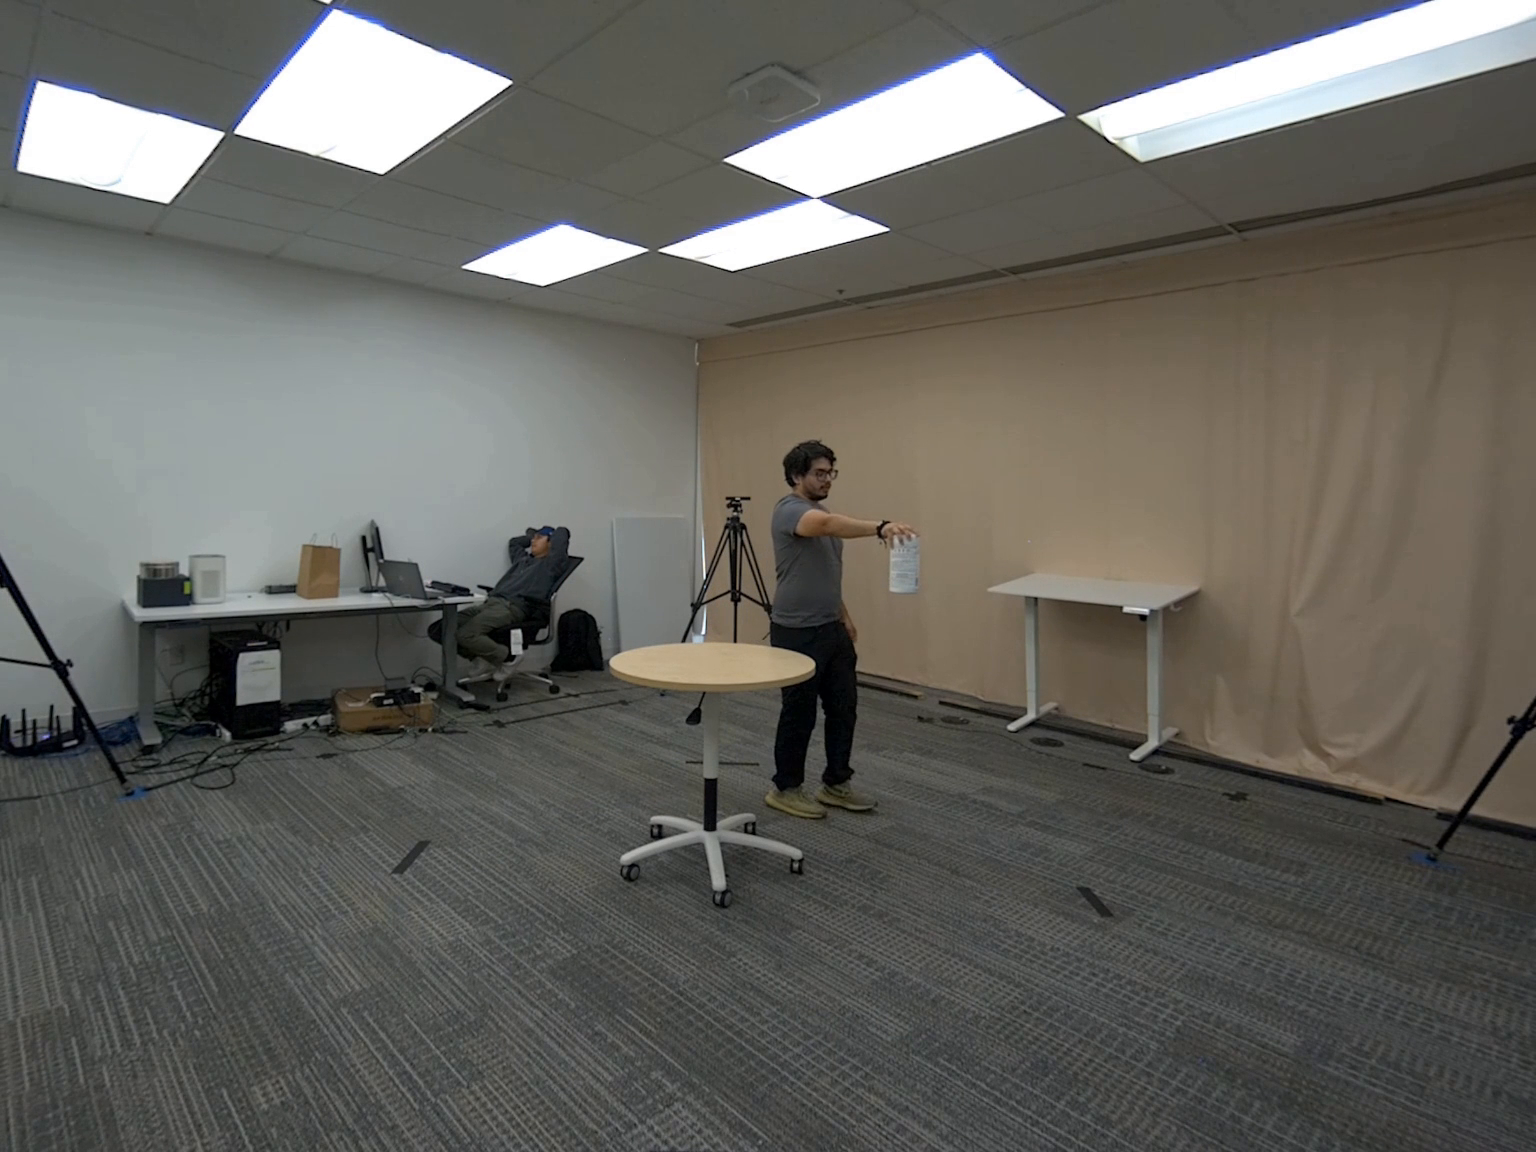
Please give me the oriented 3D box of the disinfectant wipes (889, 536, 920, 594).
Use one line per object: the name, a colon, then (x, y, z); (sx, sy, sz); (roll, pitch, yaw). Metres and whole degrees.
disinfectant wipes: (0.497, -0.049, 3.109); (0.118, 0.217, 0.118); (2, 3, -1)
